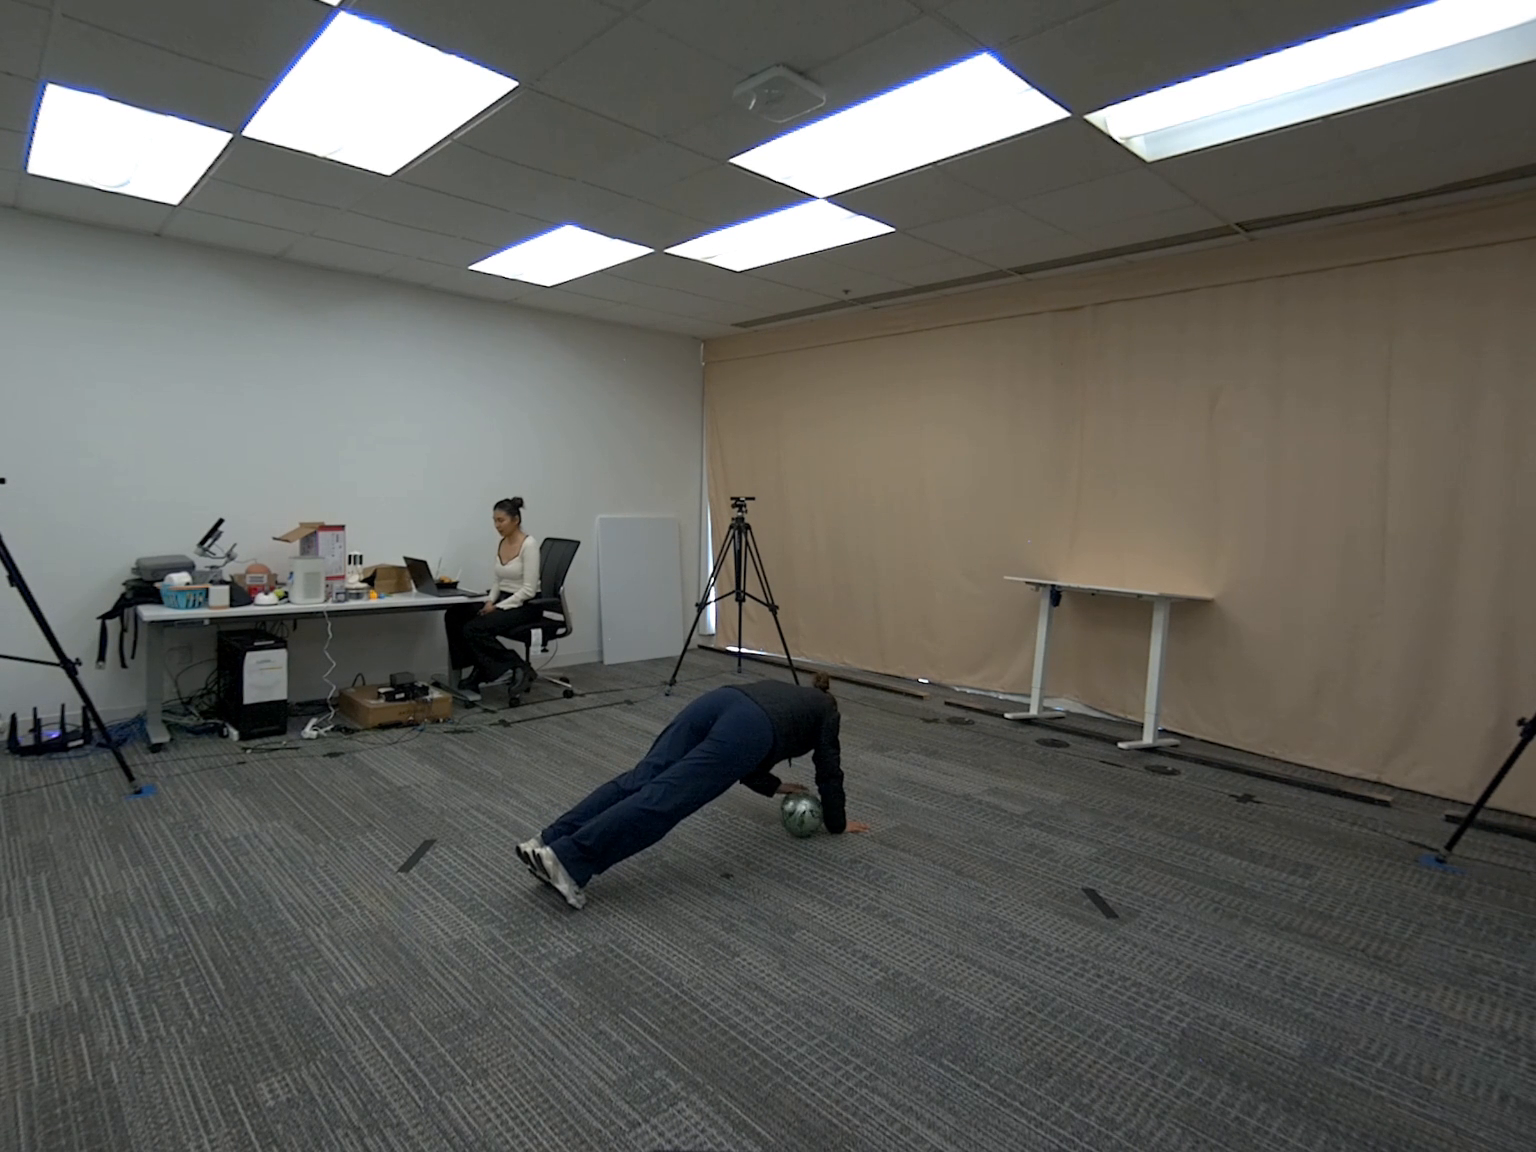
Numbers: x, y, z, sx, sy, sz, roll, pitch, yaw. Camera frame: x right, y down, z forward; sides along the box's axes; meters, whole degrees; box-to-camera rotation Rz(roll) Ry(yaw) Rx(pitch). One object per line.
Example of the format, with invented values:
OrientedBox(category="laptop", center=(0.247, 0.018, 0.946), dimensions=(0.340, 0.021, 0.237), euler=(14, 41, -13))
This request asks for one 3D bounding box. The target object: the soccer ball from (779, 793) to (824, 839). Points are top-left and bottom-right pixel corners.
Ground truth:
OrientedBox(category="soccer ball", center=(0.128, 0.983, 3.506), dimensions=(0.187, 0.187, 0.188), euler=(1, 4, -1))
